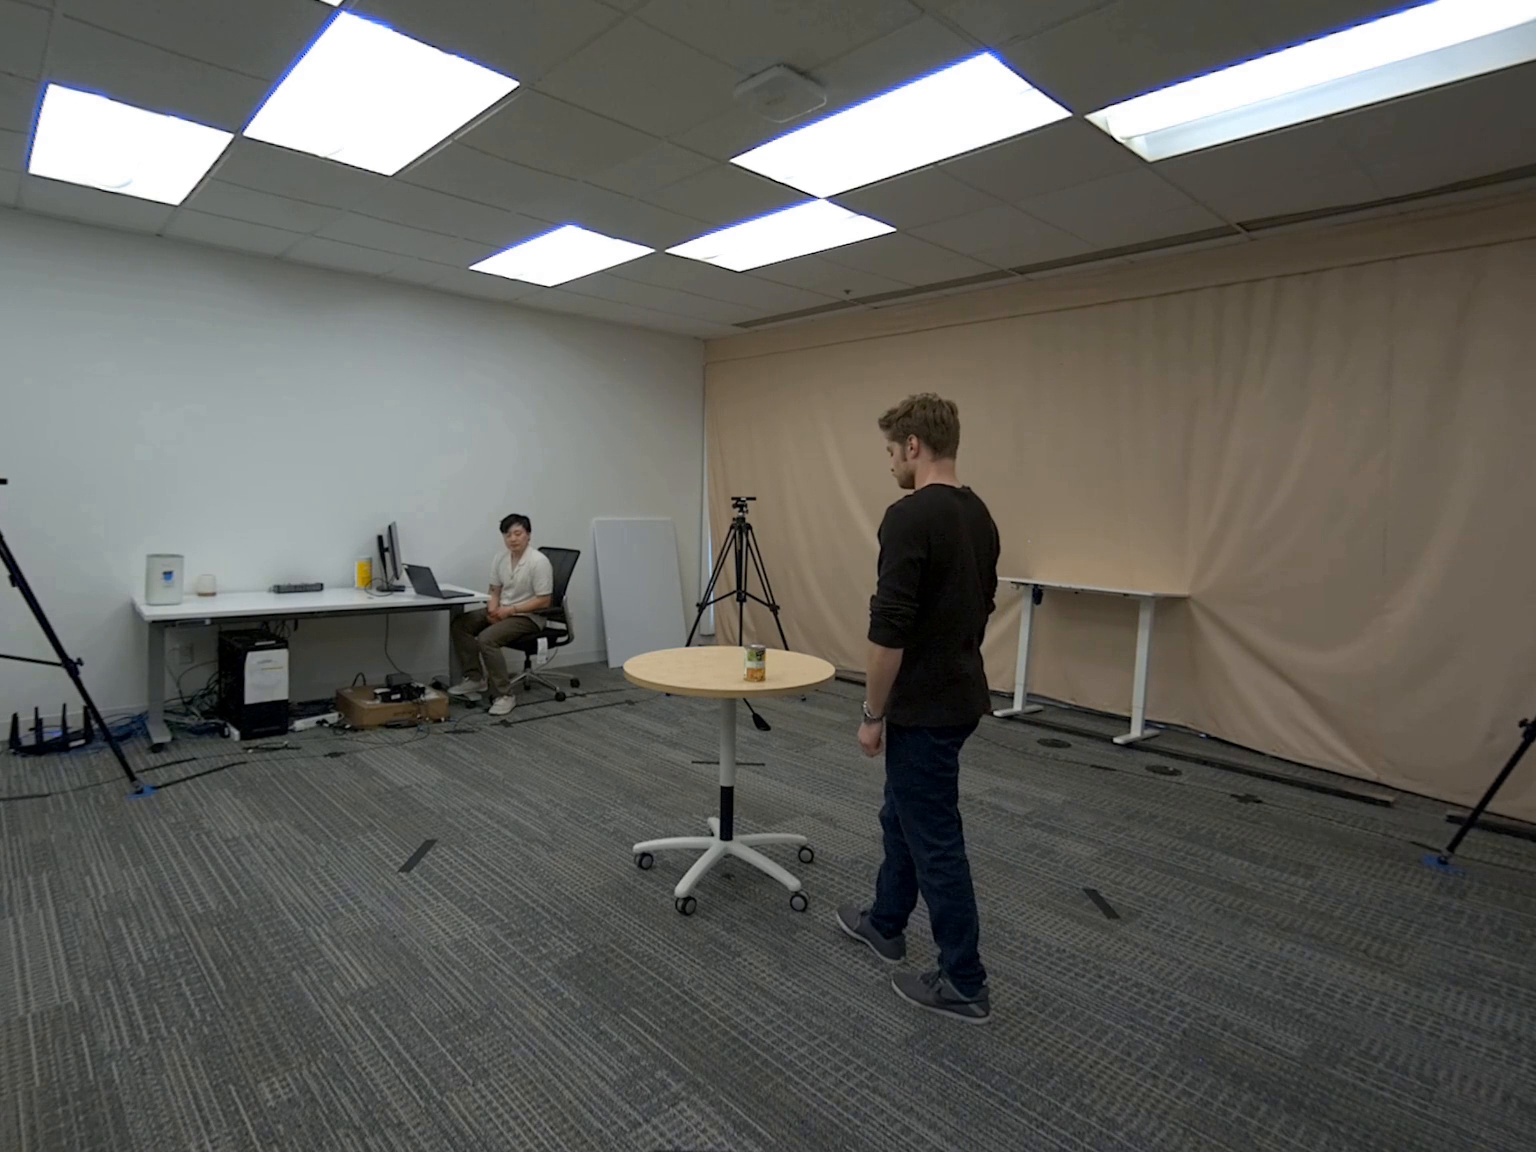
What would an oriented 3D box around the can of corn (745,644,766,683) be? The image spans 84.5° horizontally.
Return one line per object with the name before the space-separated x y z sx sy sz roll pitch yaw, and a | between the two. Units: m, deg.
can of corn | -0.051 0.295 2.823 0.074 0.110 0.074 1 7 -1
